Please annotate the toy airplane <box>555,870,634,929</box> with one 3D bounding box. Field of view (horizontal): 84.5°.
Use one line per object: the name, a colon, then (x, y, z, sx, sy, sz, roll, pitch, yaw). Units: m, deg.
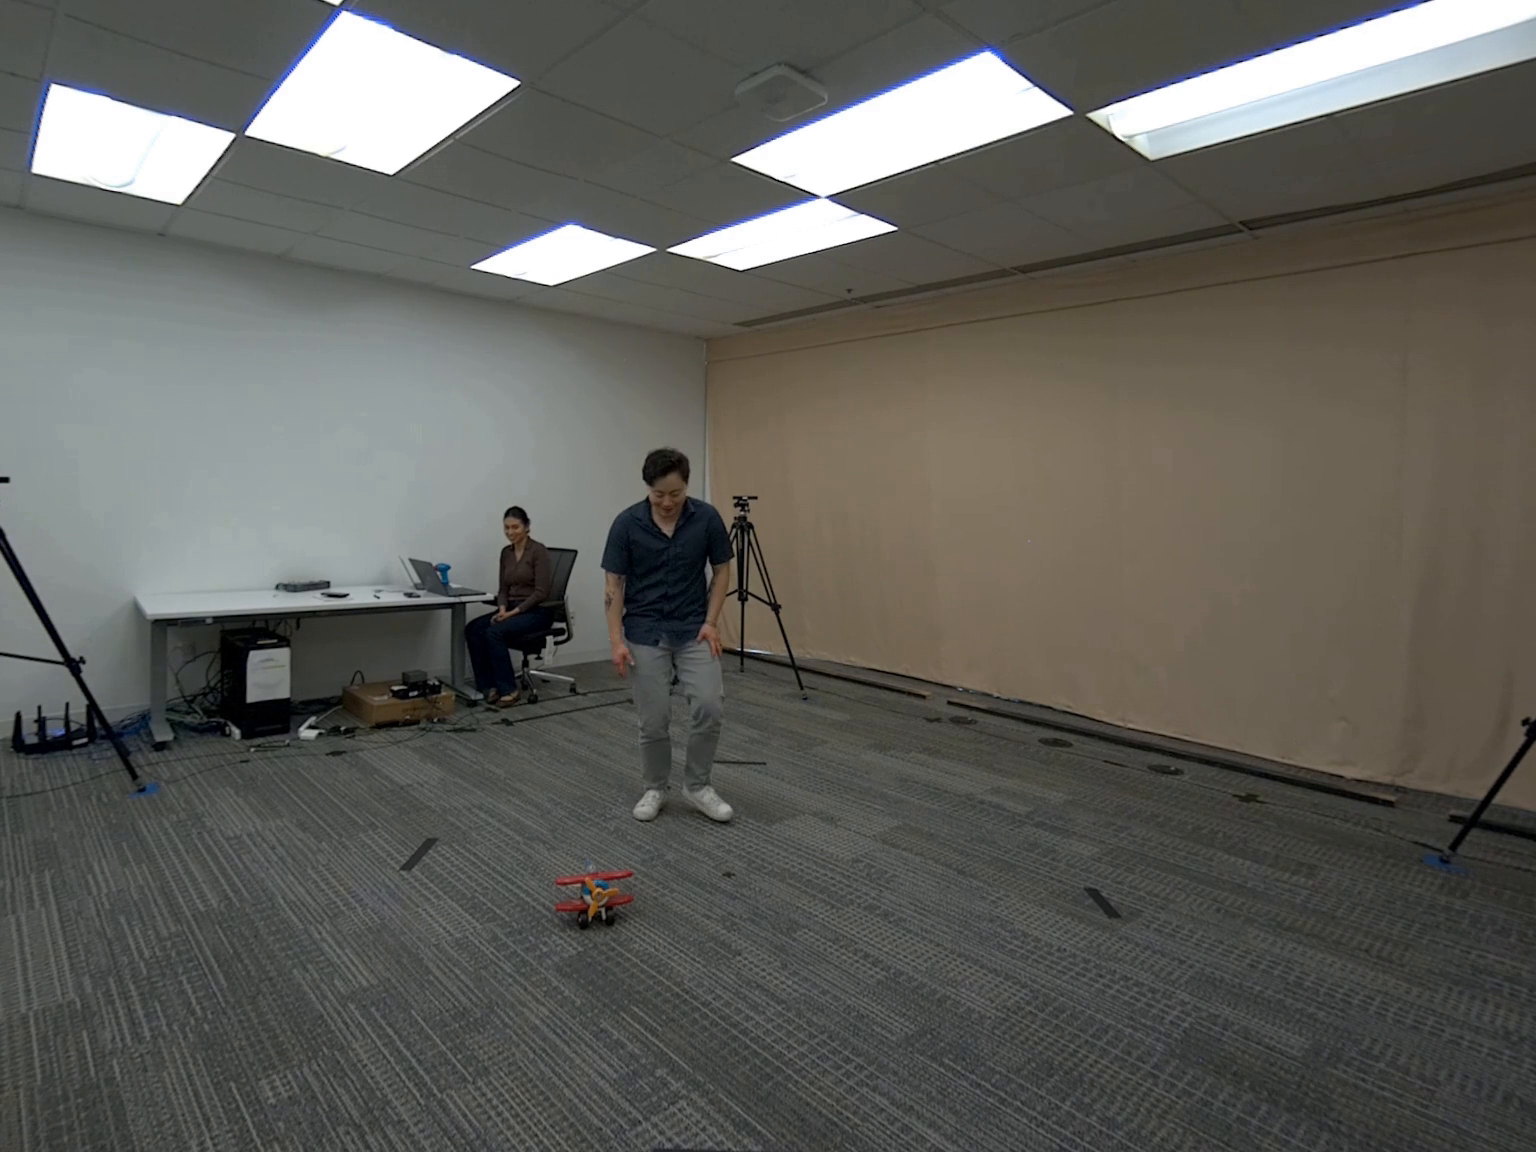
toy airplane: (-0.607, 1.049, 2.784, 0.266, 0.156, 0.245, 8, 8, 43)
